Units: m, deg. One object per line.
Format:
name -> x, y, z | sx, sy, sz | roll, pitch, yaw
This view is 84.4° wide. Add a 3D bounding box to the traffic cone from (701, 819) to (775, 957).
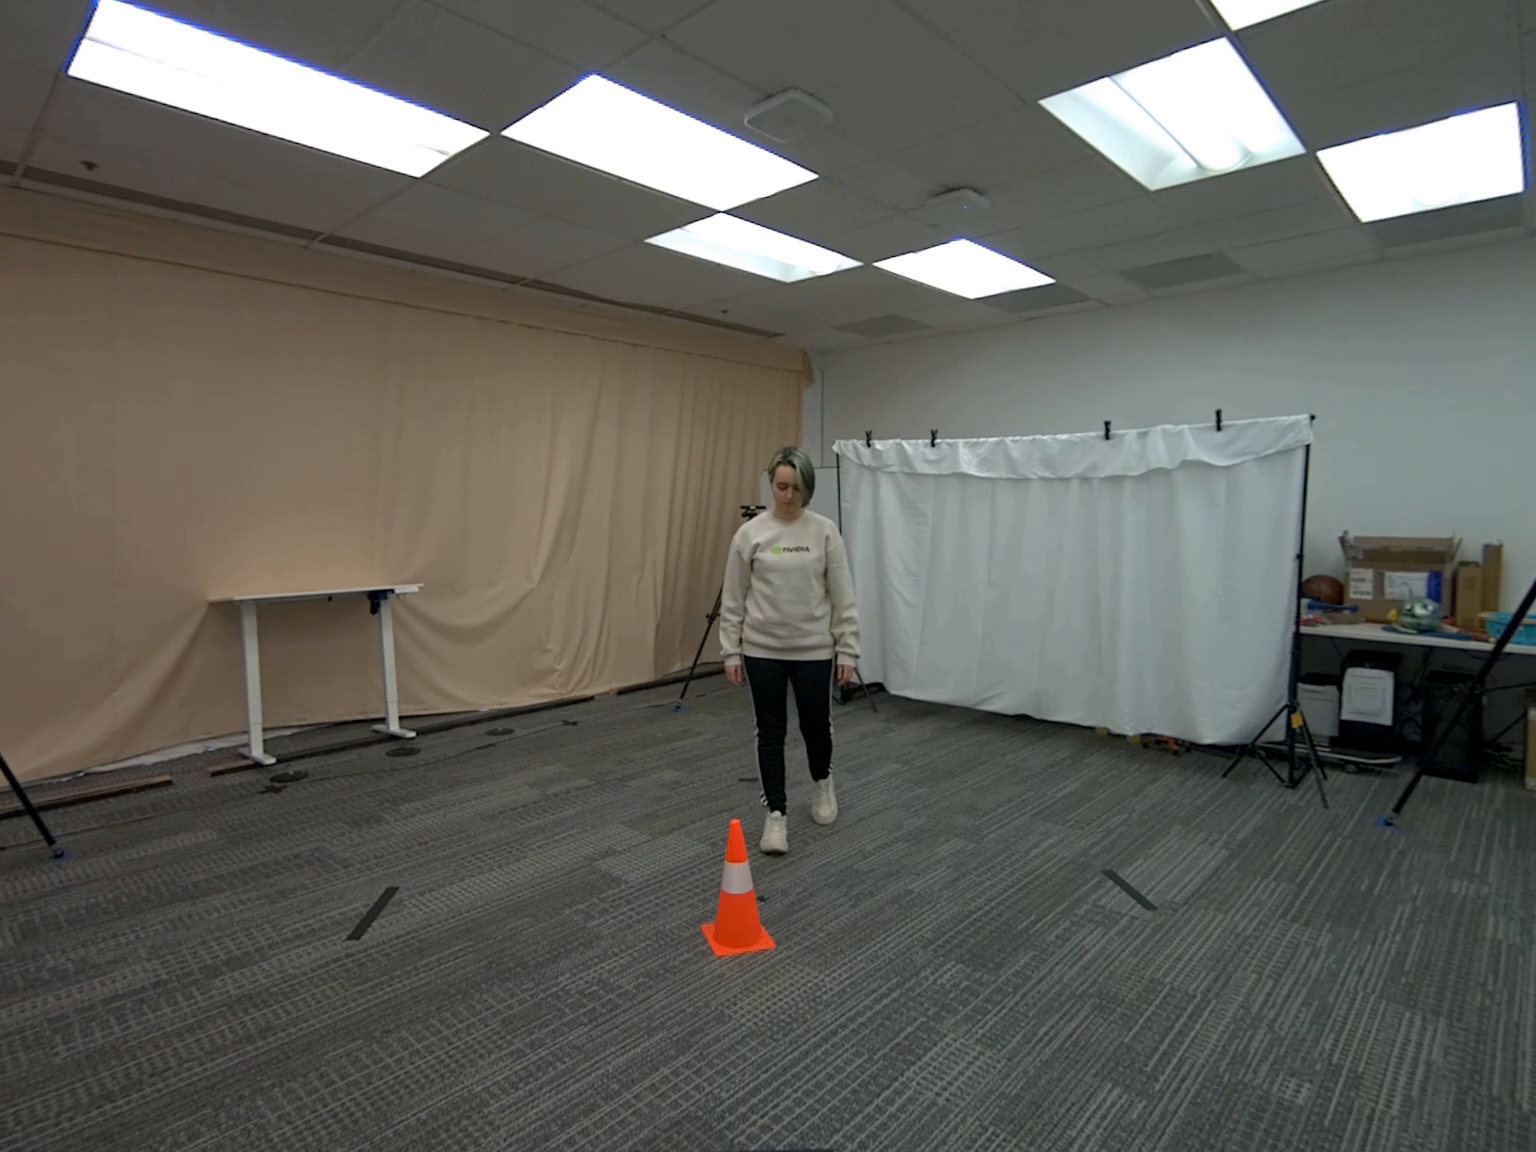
traffic cone -> -0.105, 0.980, 2.705 | 0.201, 0.383, 0.207 | -2, 3, -11
